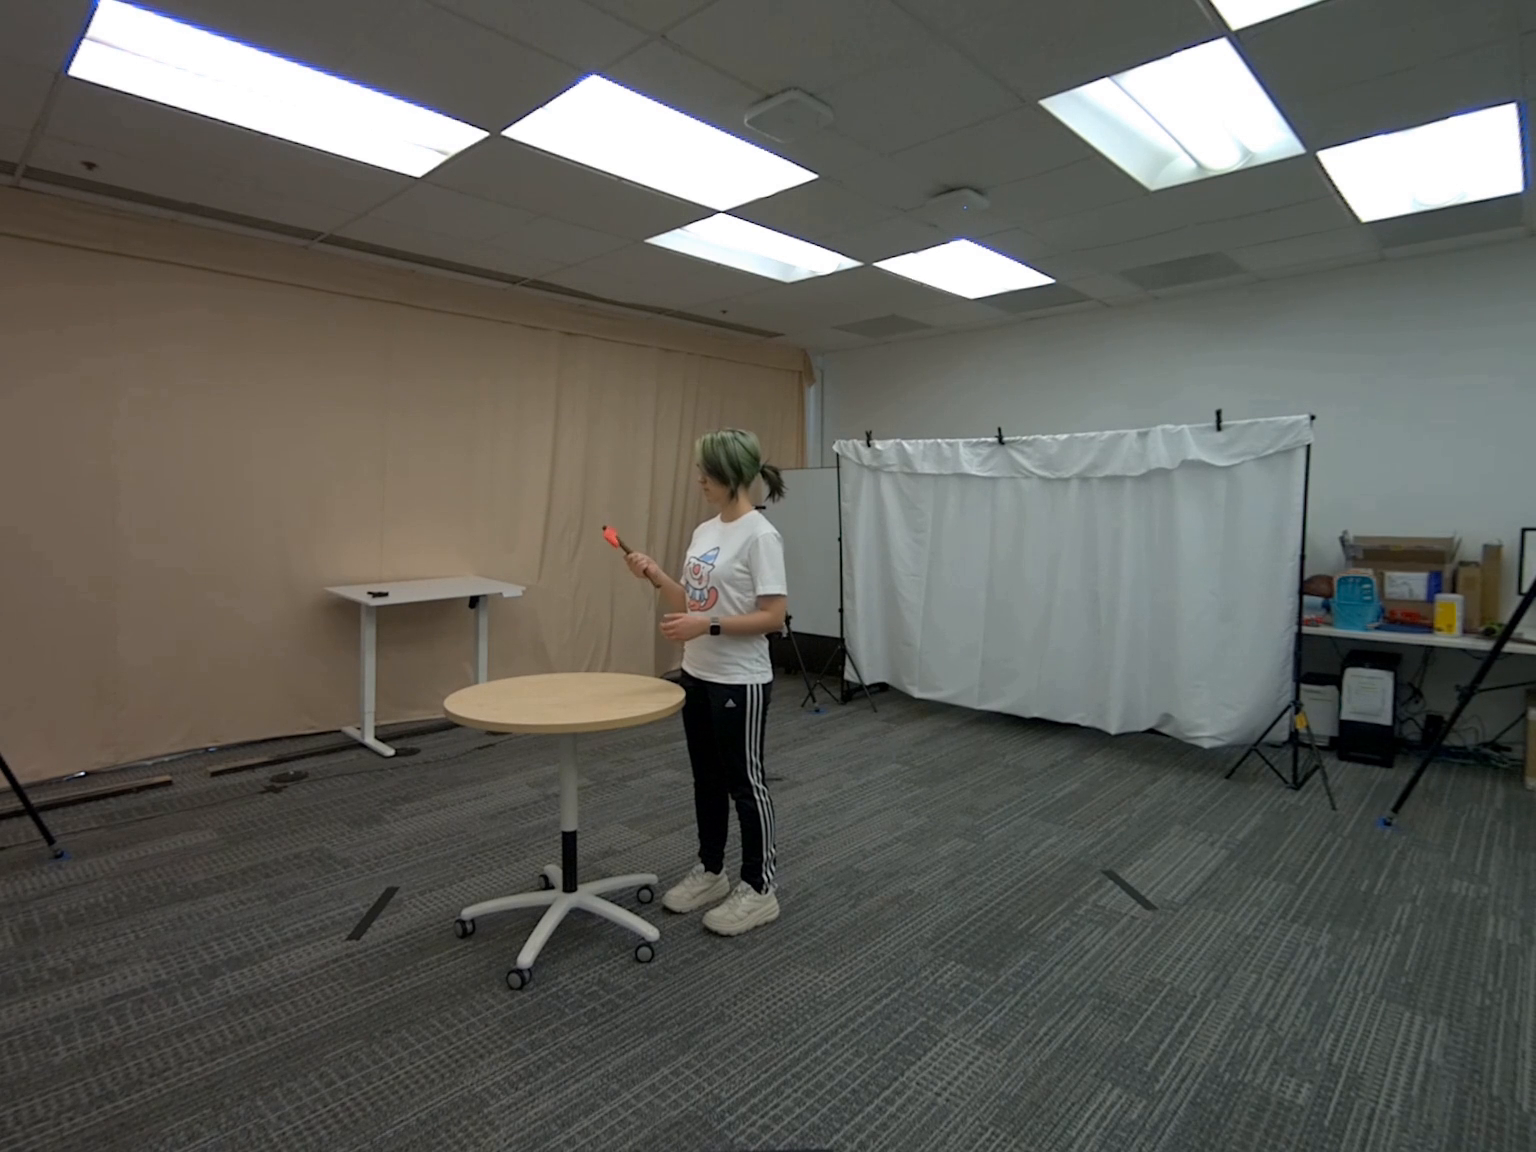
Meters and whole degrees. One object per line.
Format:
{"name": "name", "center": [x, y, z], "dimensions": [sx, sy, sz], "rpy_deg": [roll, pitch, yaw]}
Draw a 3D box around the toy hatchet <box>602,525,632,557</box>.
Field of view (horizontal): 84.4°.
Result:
{"name": "toy hatchet", "center": [-0.452, -0.059, 2.777], "dimensions": [0.030, 0.273, 0.129], "rpy_deg": [-42, -8, 10]}
